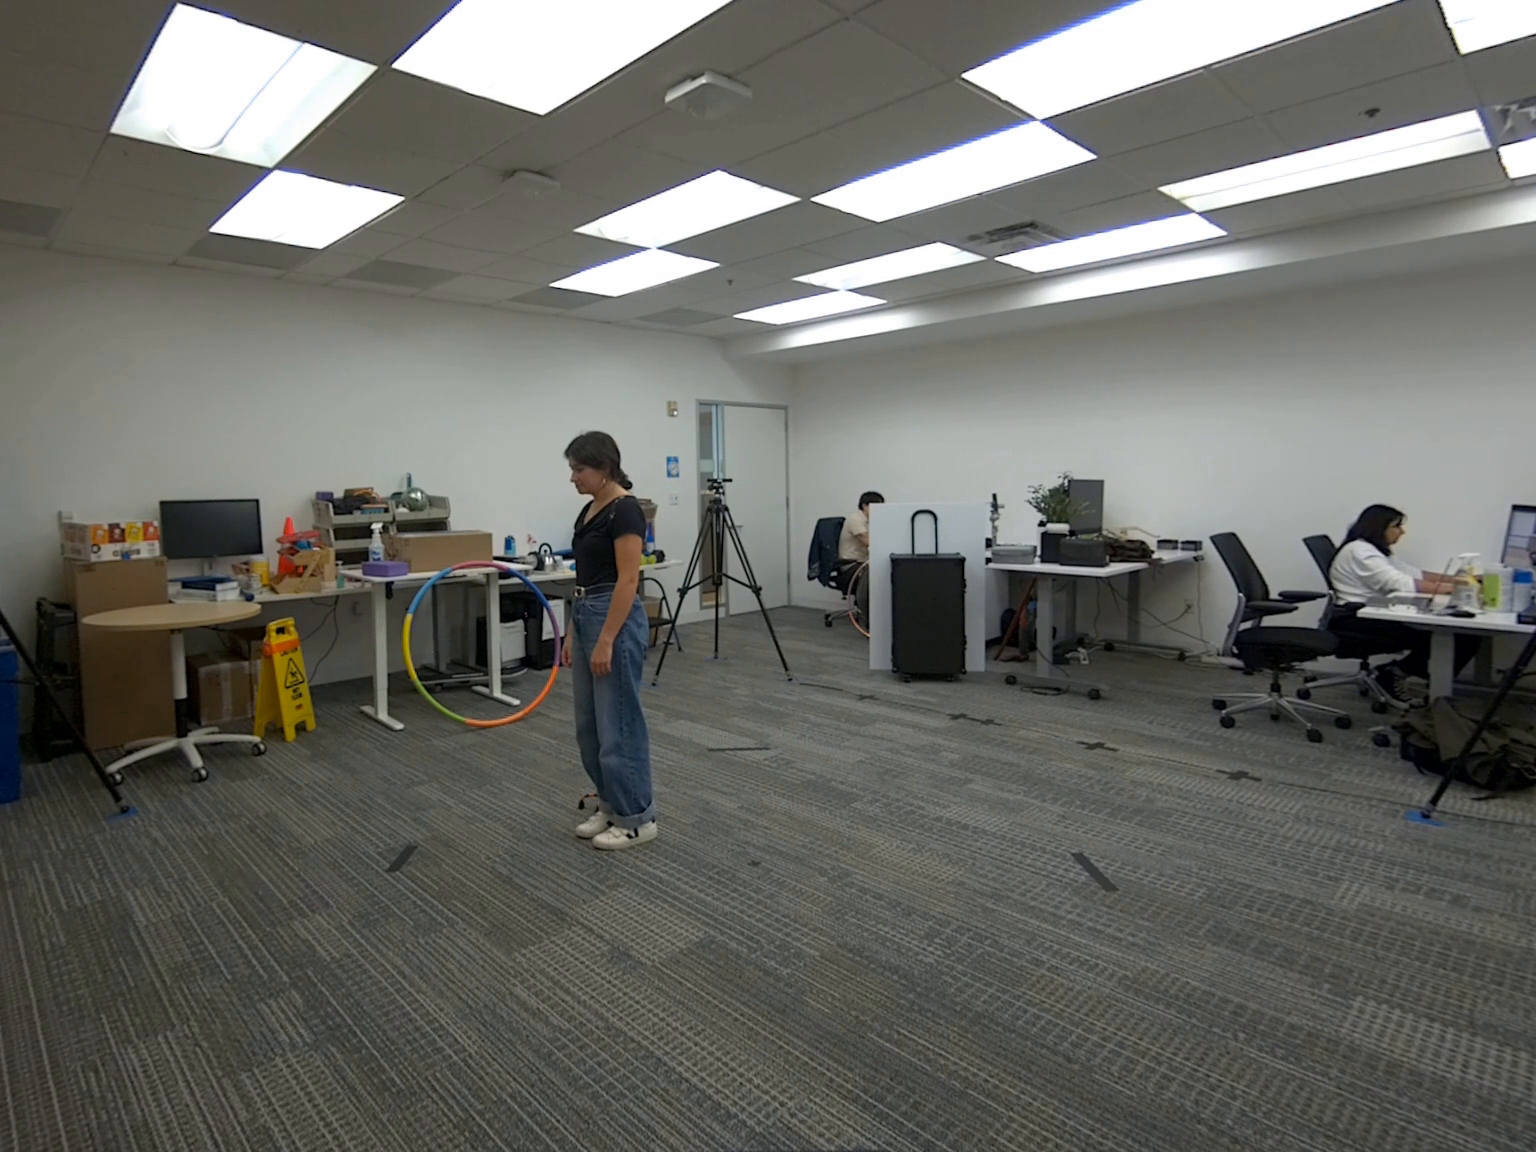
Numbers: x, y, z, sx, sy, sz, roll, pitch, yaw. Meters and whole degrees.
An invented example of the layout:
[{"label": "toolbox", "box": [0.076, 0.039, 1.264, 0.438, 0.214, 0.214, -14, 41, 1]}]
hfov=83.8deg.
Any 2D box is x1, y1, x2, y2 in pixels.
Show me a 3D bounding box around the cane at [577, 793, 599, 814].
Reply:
[{"label": "cane", "box": [-0.698, 0.546, 3.674, 0.156, 0.905, 0.201, 2, 4, 43]}]
